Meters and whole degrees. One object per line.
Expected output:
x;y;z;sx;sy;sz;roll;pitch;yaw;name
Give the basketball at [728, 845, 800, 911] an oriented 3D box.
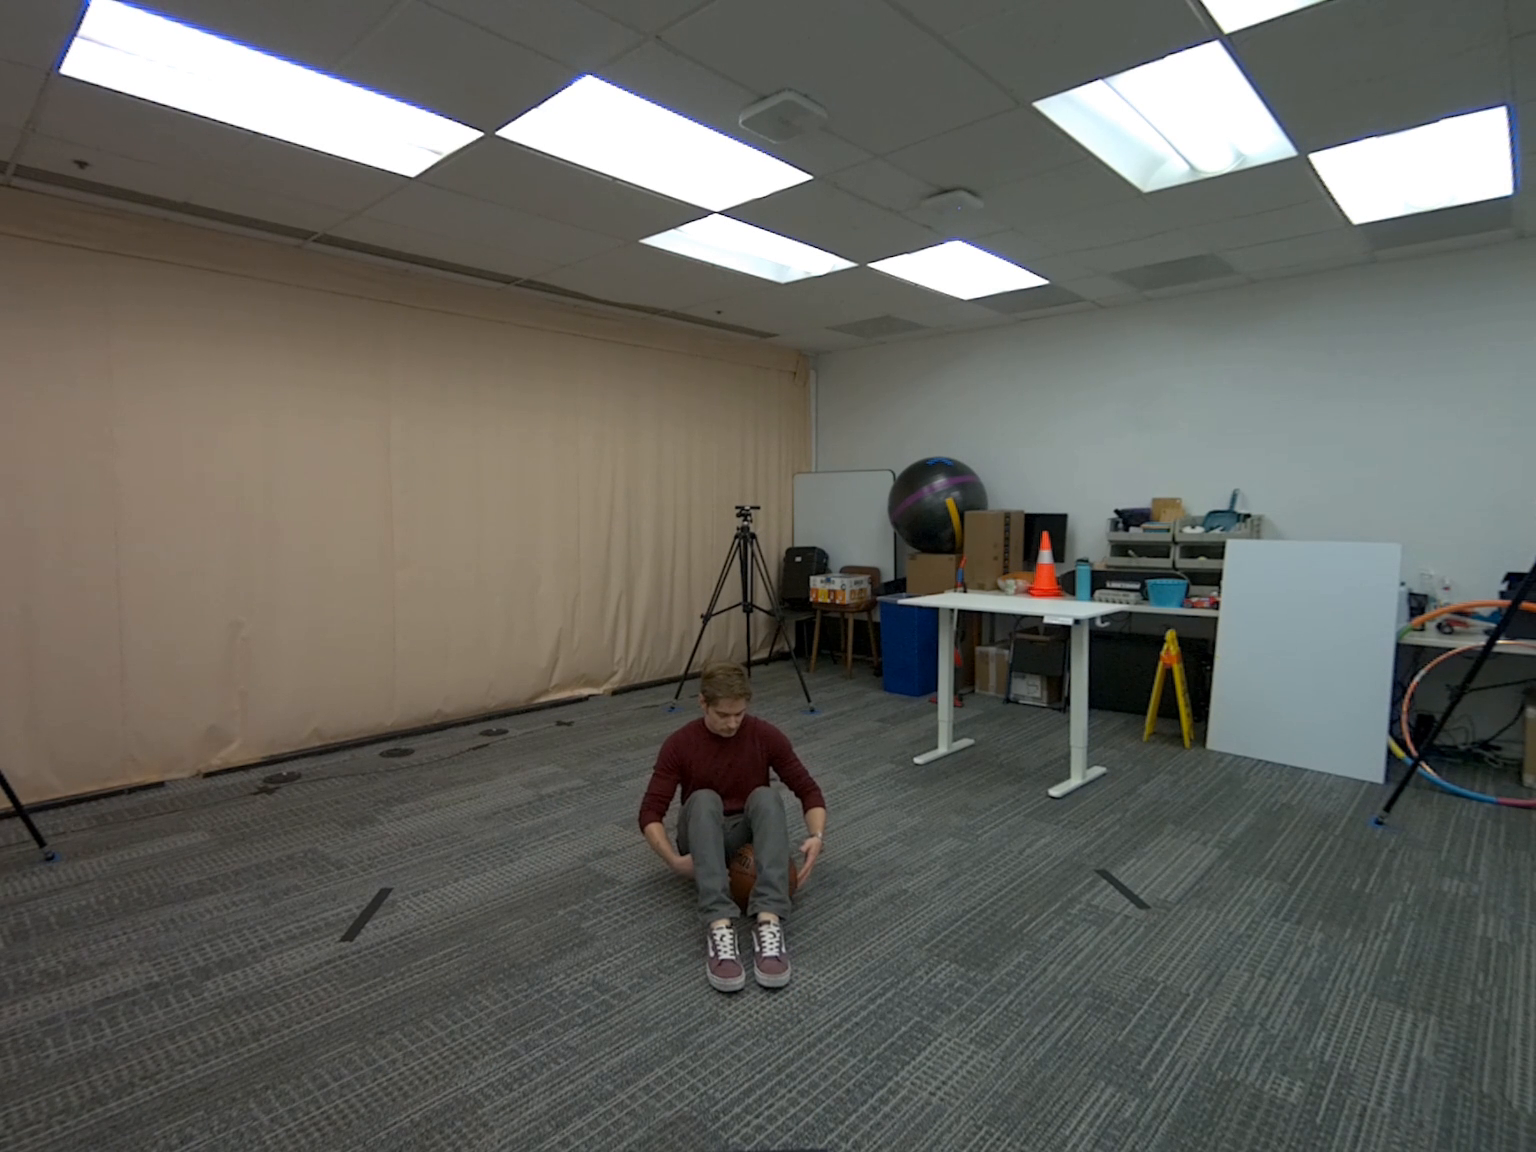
-0.006;1.036;2.892;0.236;0.235;0.237;0;4;-2;basketball
